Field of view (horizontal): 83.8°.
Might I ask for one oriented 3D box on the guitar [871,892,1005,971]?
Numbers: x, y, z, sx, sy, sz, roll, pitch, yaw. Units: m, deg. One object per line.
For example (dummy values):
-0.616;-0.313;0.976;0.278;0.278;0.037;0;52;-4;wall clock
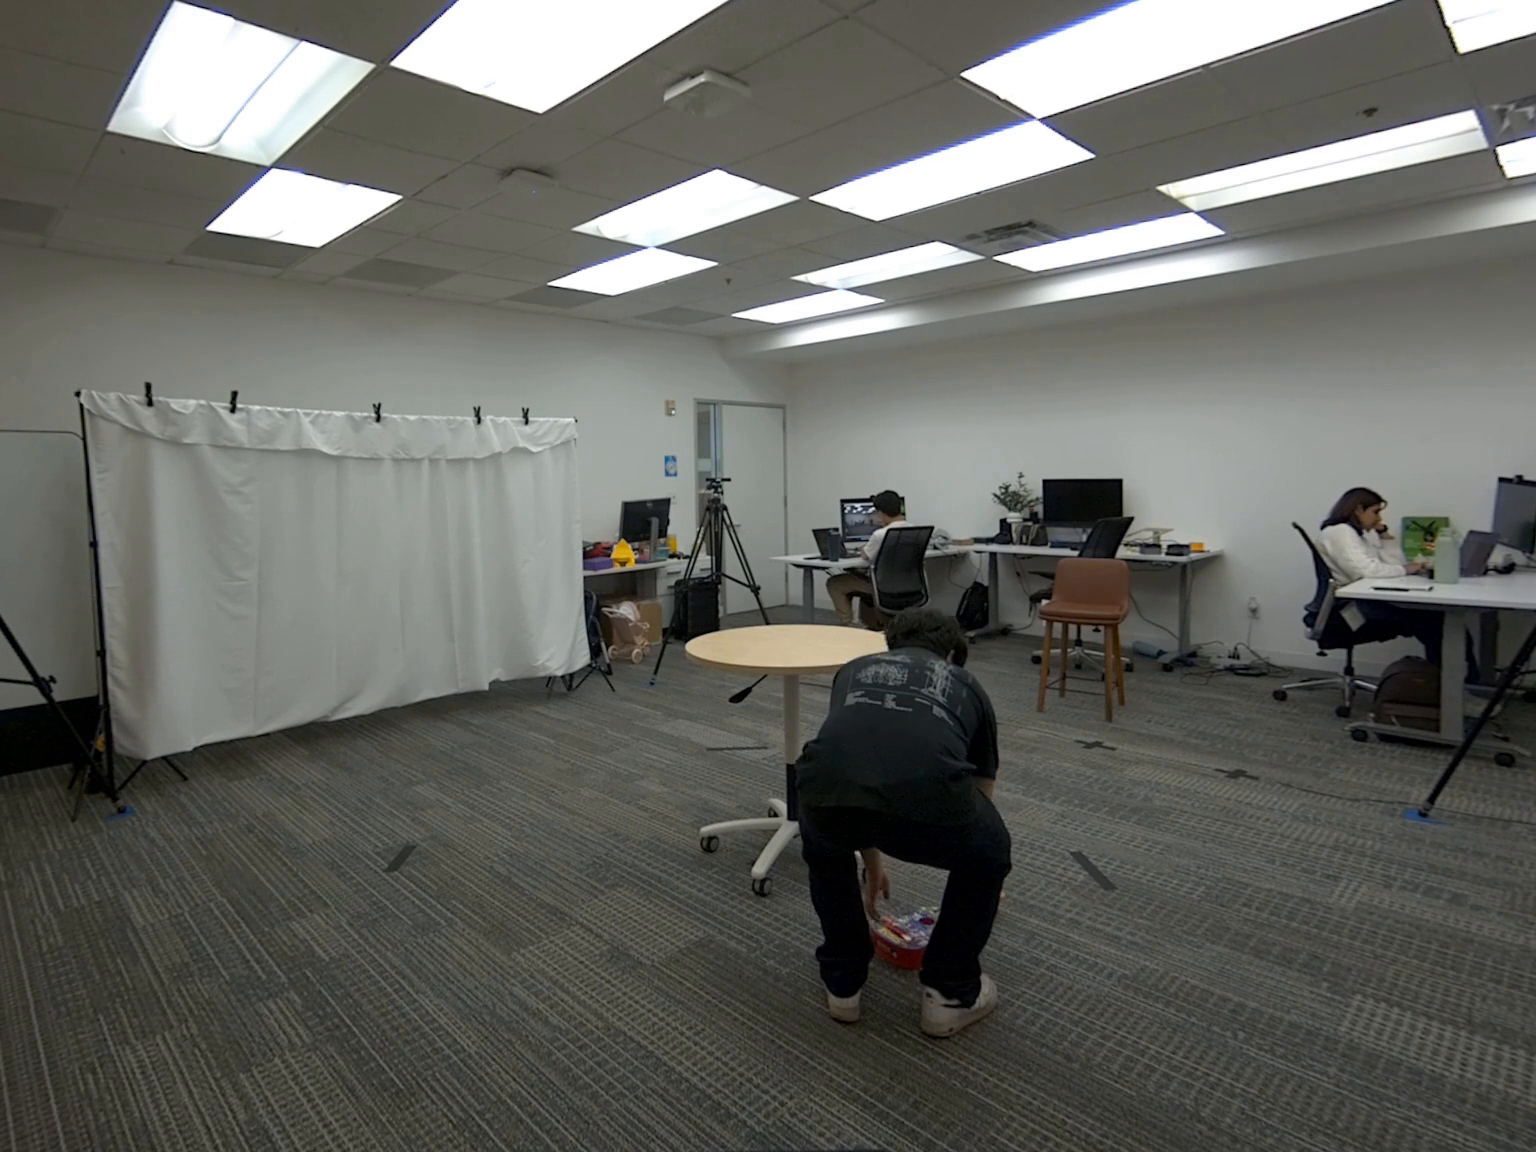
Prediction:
0.558;1.060;2.575;0.488;0.070;0.198;-5;7;-23;guitar
